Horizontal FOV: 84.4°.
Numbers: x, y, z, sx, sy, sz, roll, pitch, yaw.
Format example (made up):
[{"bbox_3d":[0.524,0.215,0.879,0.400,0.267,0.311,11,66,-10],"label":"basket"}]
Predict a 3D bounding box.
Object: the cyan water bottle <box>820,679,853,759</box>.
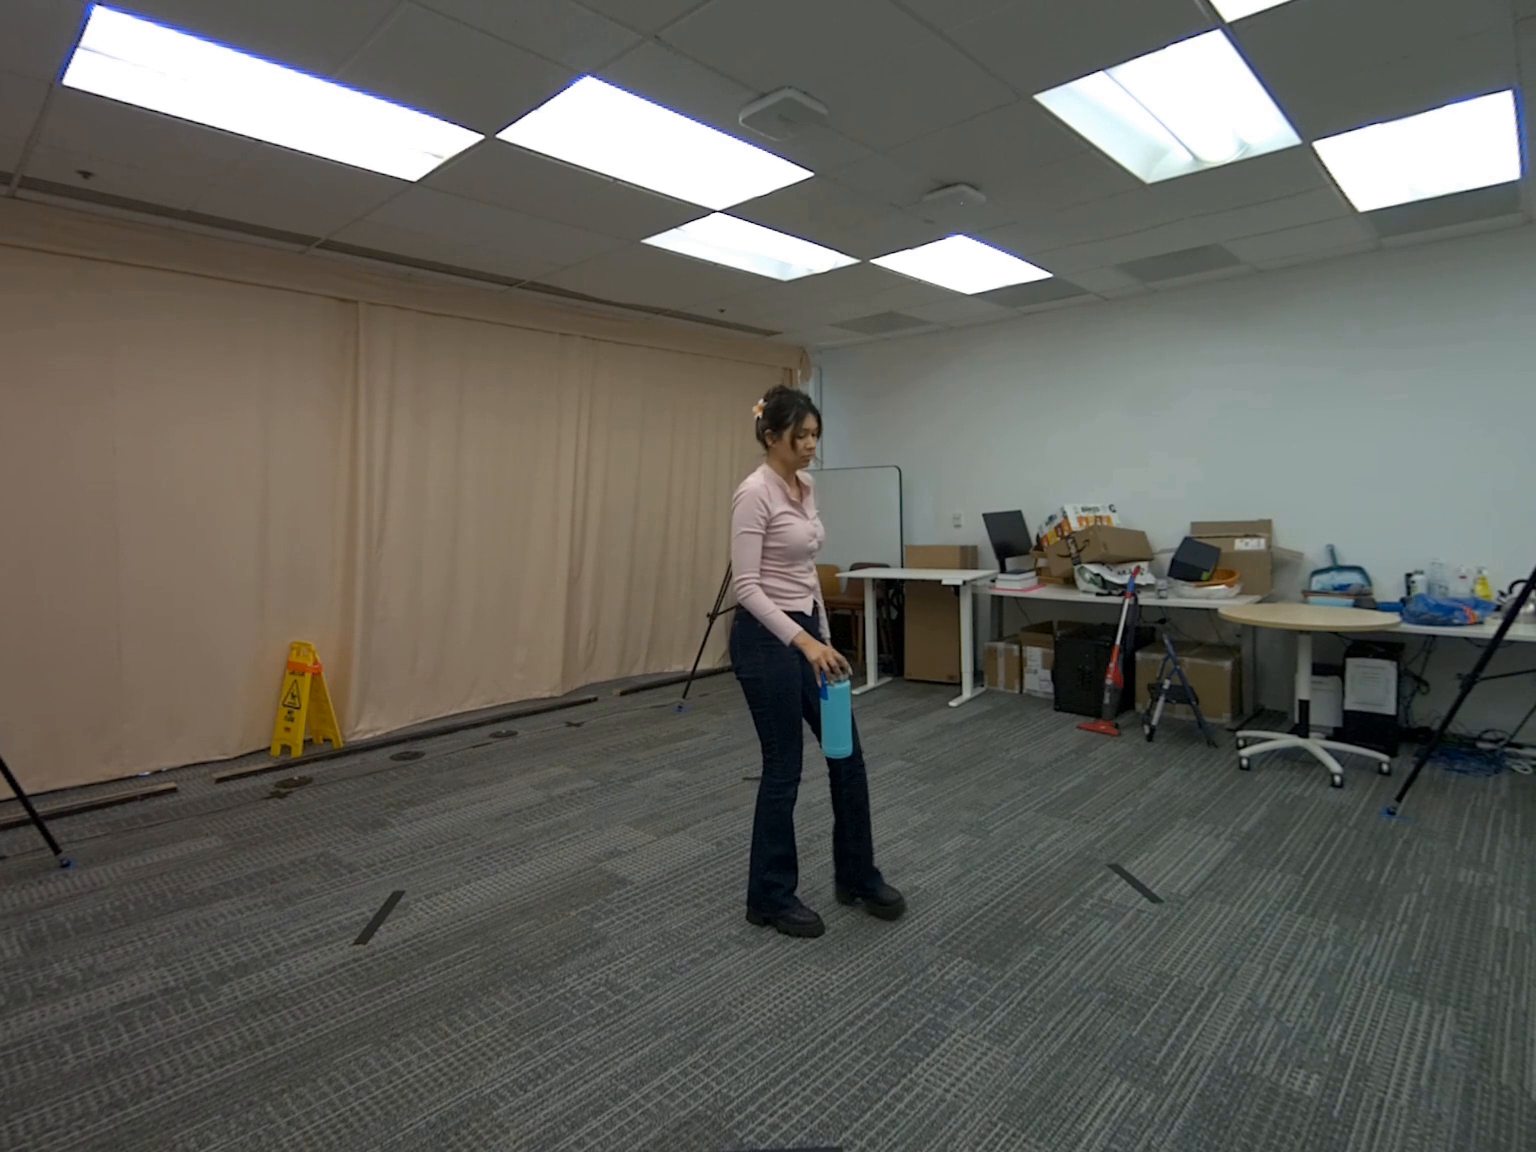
[{"bbox_3d":[0.196,0.388,2.476,0.092,0.281,0.093,-3,10,-1],"label":"cyan water bottle"}]
